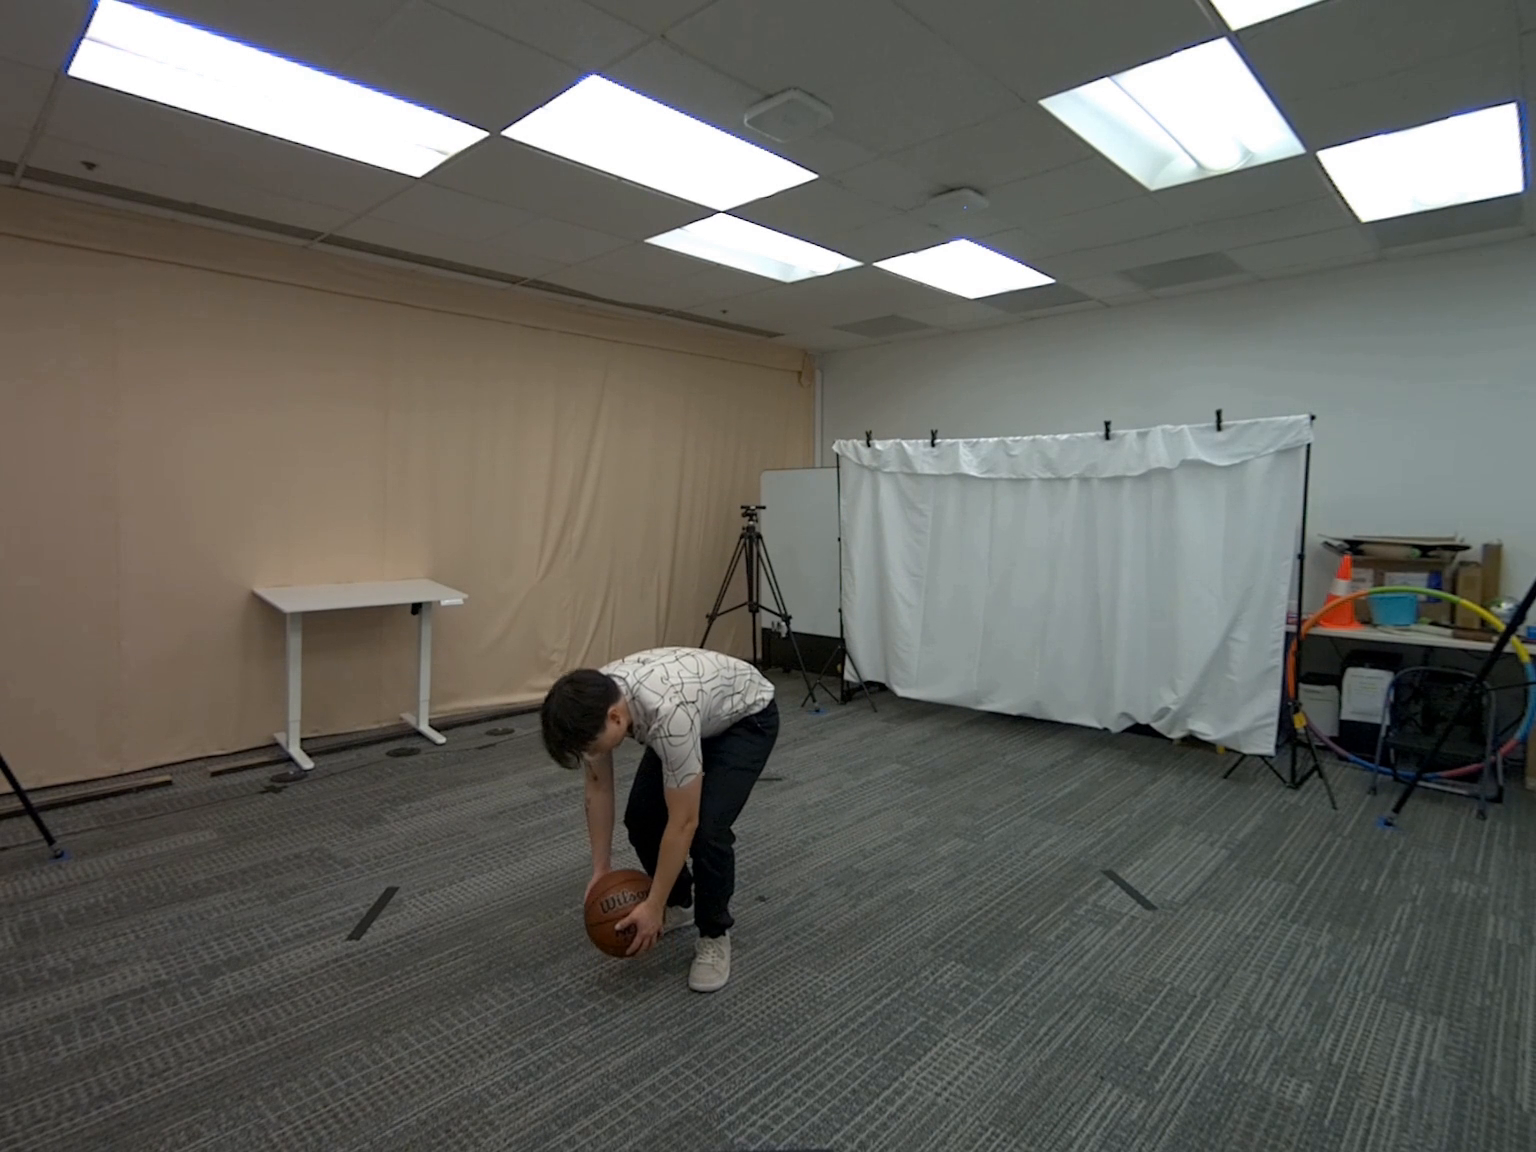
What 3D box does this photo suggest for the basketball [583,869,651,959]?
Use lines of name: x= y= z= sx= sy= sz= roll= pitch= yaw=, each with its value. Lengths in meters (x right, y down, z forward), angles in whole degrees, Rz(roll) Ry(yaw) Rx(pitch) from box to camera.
basketball: x=-0.416 y=0.970 z=2.458 sx=0.236 sy=0.235 sz=0.237 roll=0 pitch=4 yaw=-2
